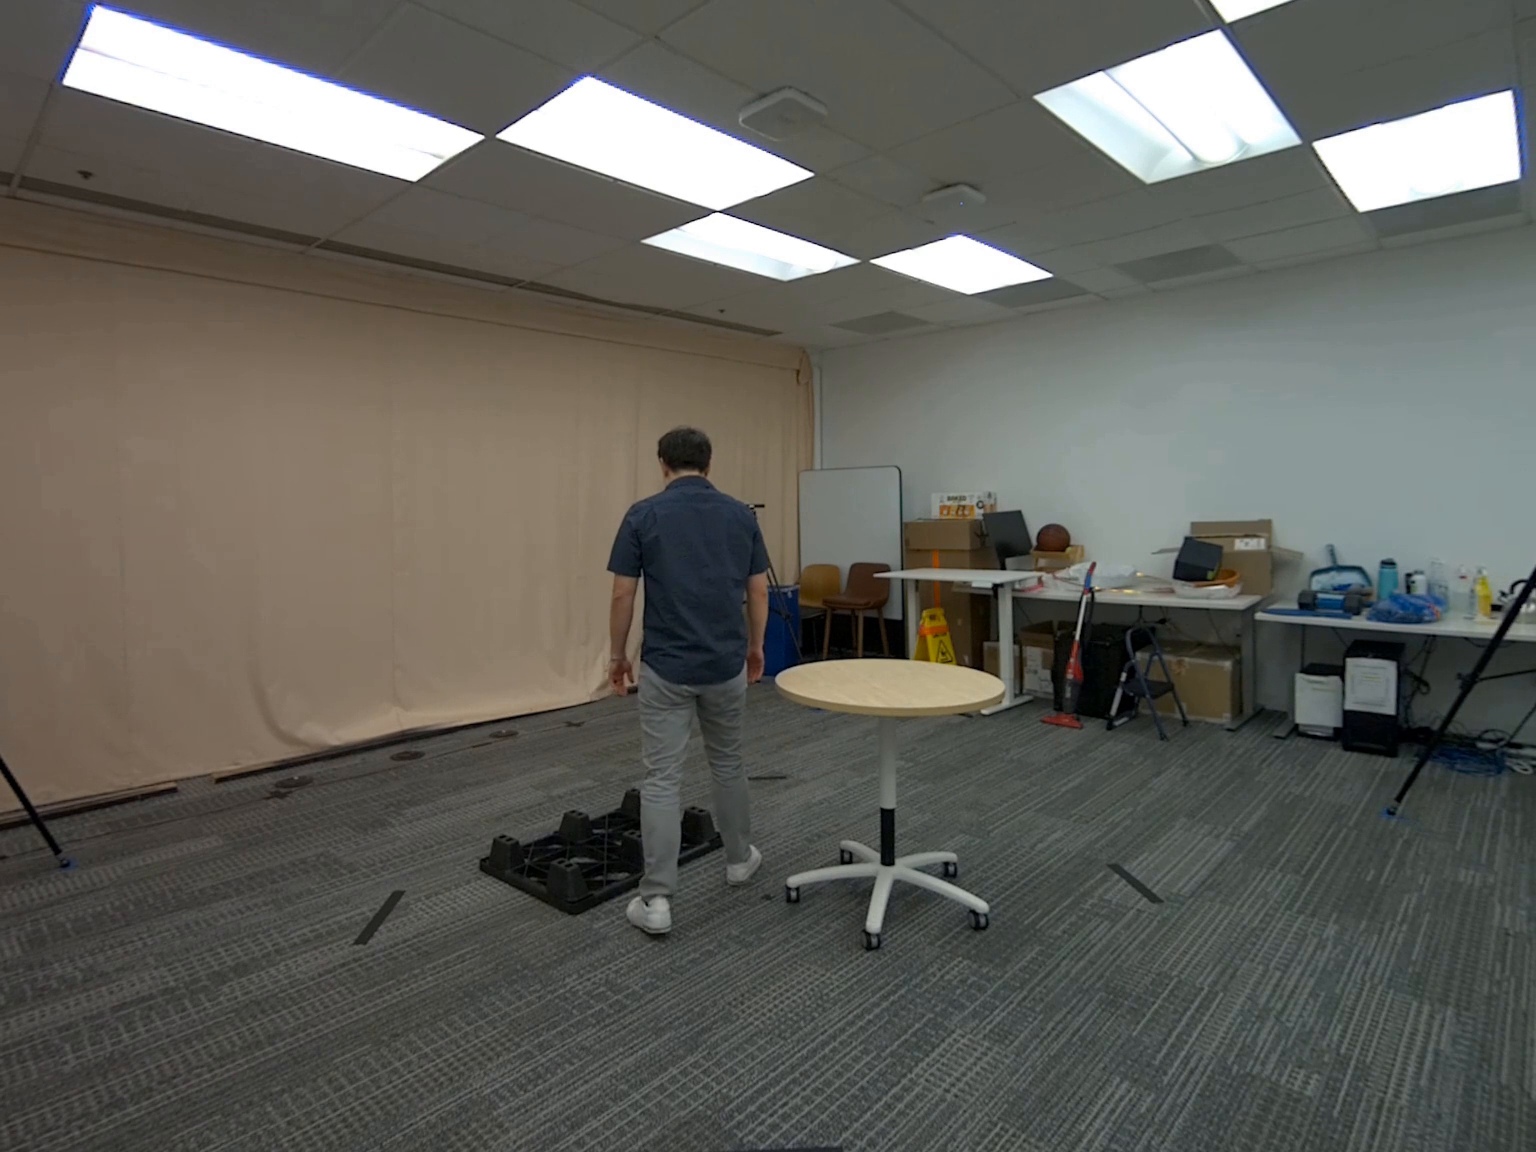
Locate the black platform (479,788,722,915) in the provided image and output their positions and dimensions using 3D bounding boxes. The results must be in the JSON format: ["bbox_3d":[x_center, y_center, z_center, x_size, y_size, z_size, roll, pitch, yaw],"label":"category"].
[{"bbox_3d":[-0.648,1.056,3.366,0.625,0.143,0.781,3,6,40],"label":"black platform"}]
